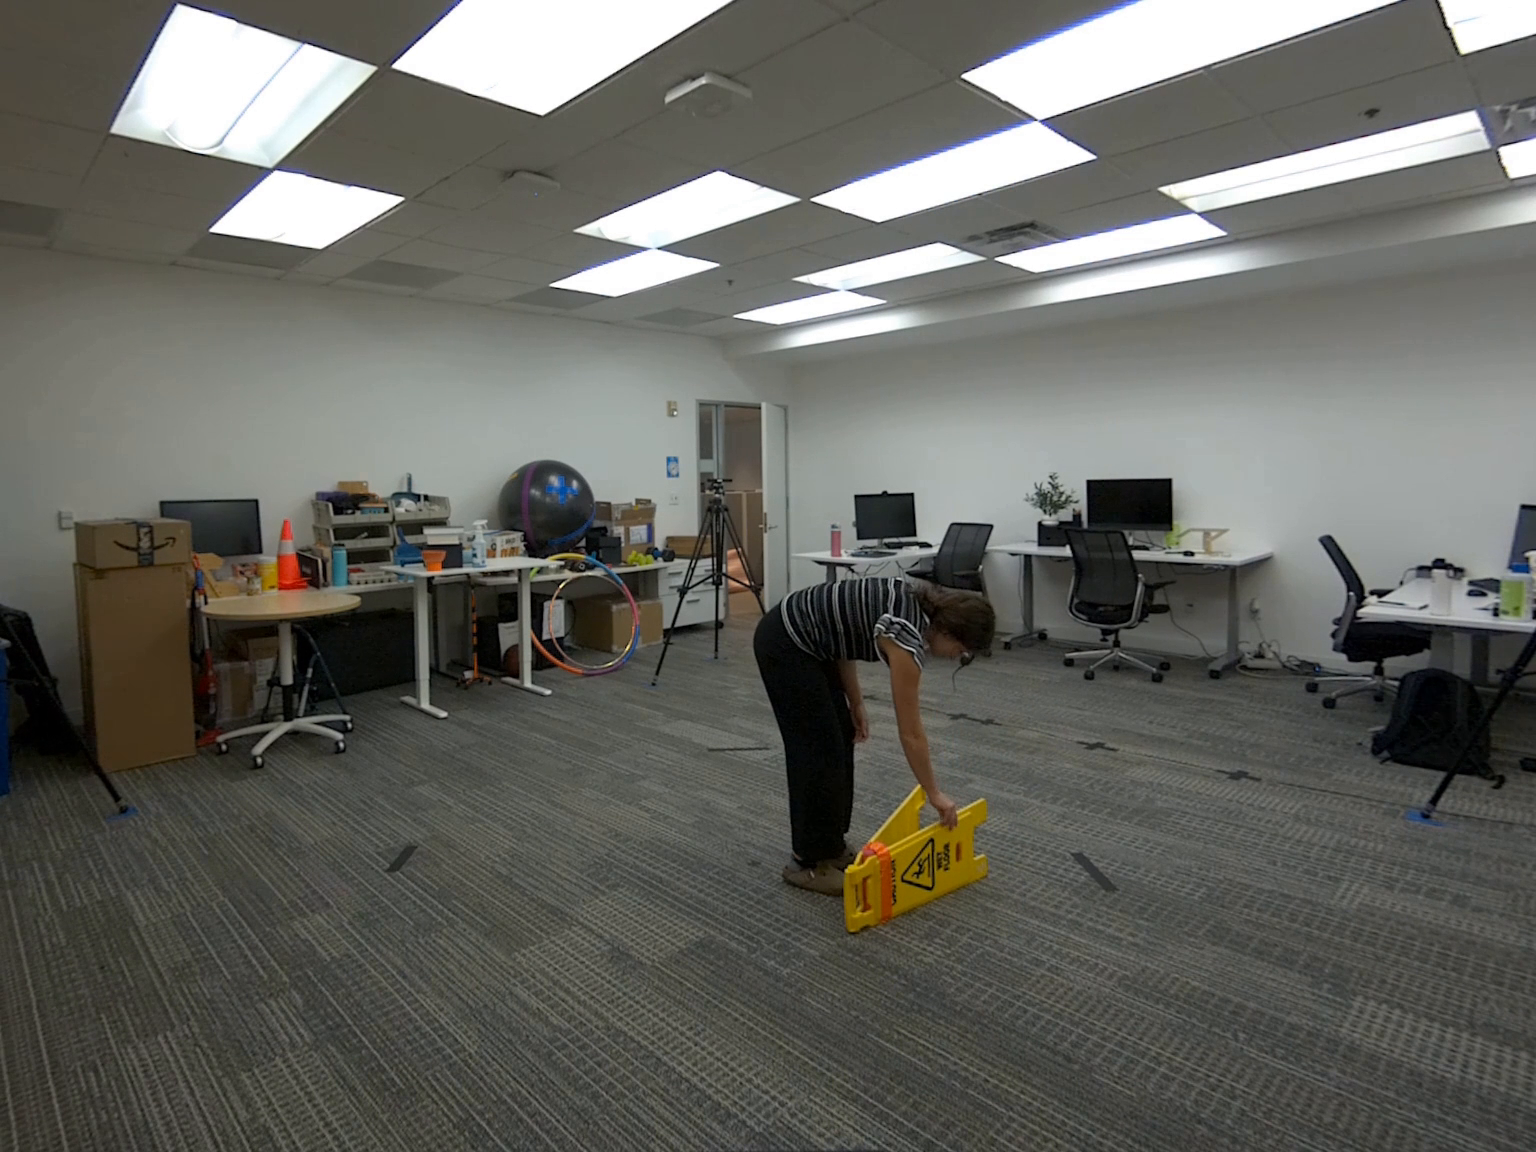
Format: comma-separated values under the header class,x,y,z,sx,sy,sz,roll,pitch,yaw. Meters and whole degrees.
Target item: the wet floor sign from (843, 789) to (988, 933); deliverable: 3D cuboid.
class,x,y,z,sx,sy,sz,roll,pitch,yaw
wet floor sign,0.459,0.944,2.821,0.298,0.280,0.631,4,11,40
